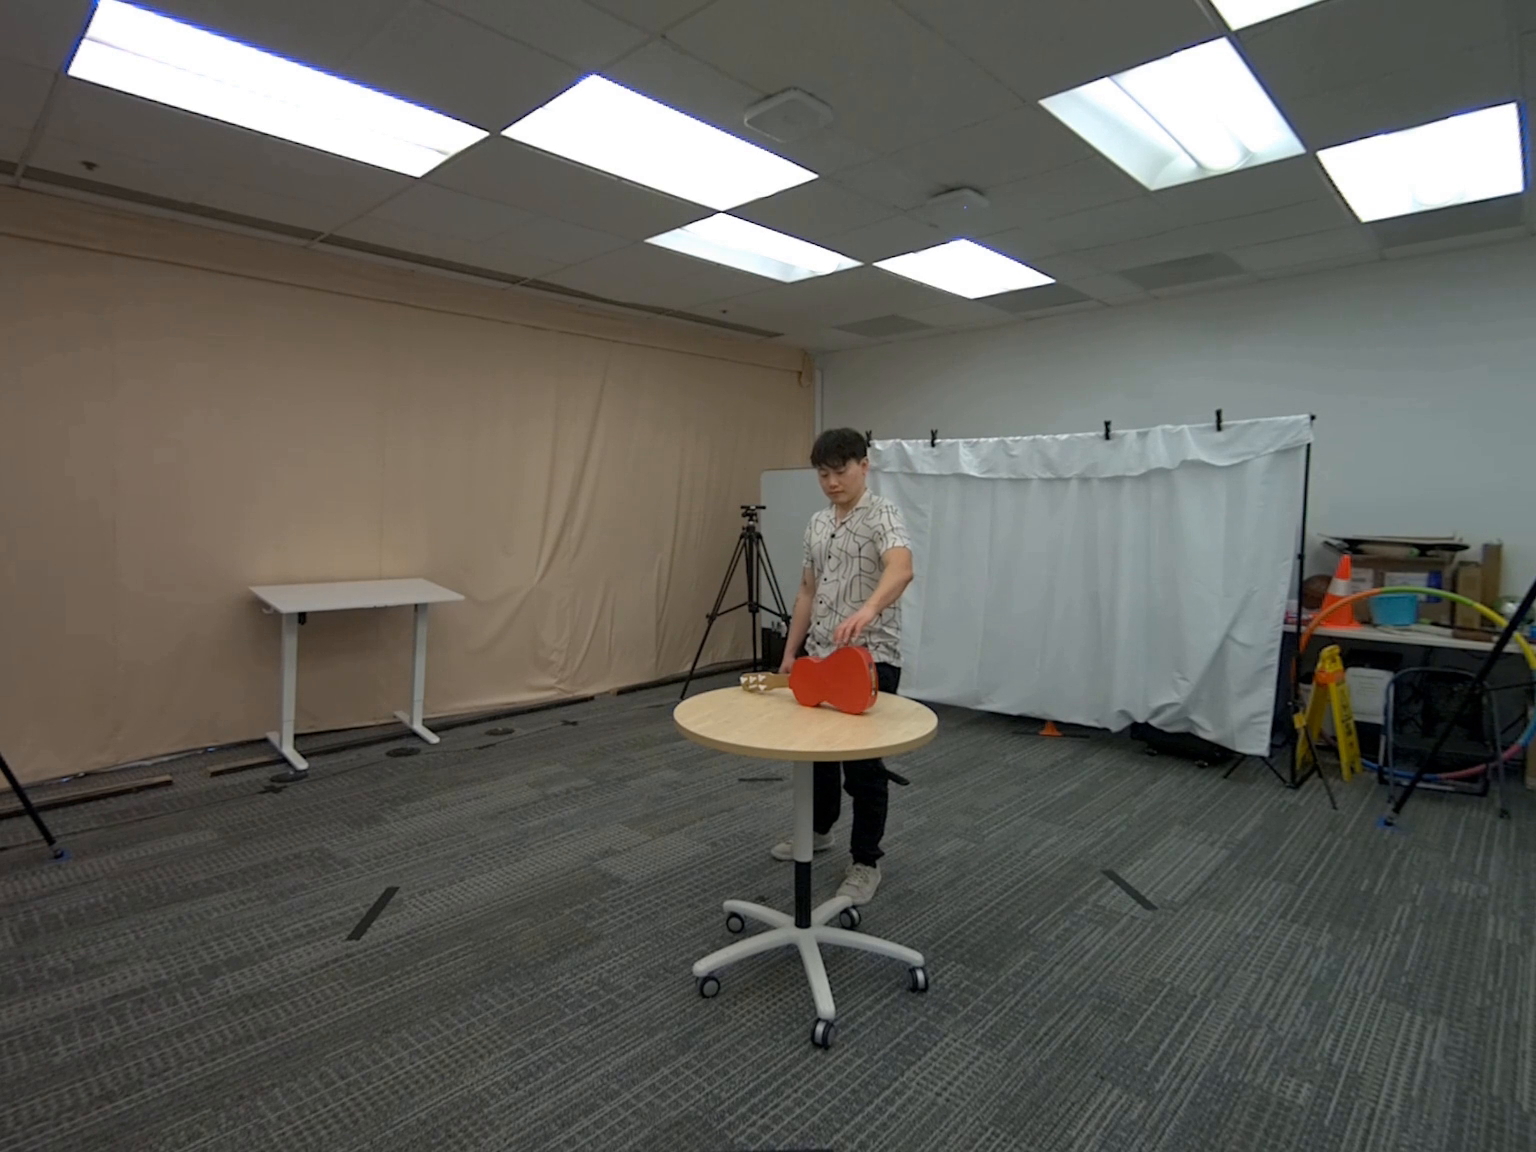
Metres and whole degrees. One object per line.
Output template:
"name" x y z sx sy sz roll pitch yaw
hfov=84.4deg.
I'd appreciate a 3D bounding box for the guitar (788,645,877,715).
"guitar" 0.117 0.349 2.589 0.509 0.194 0.068 -19 -9 36
